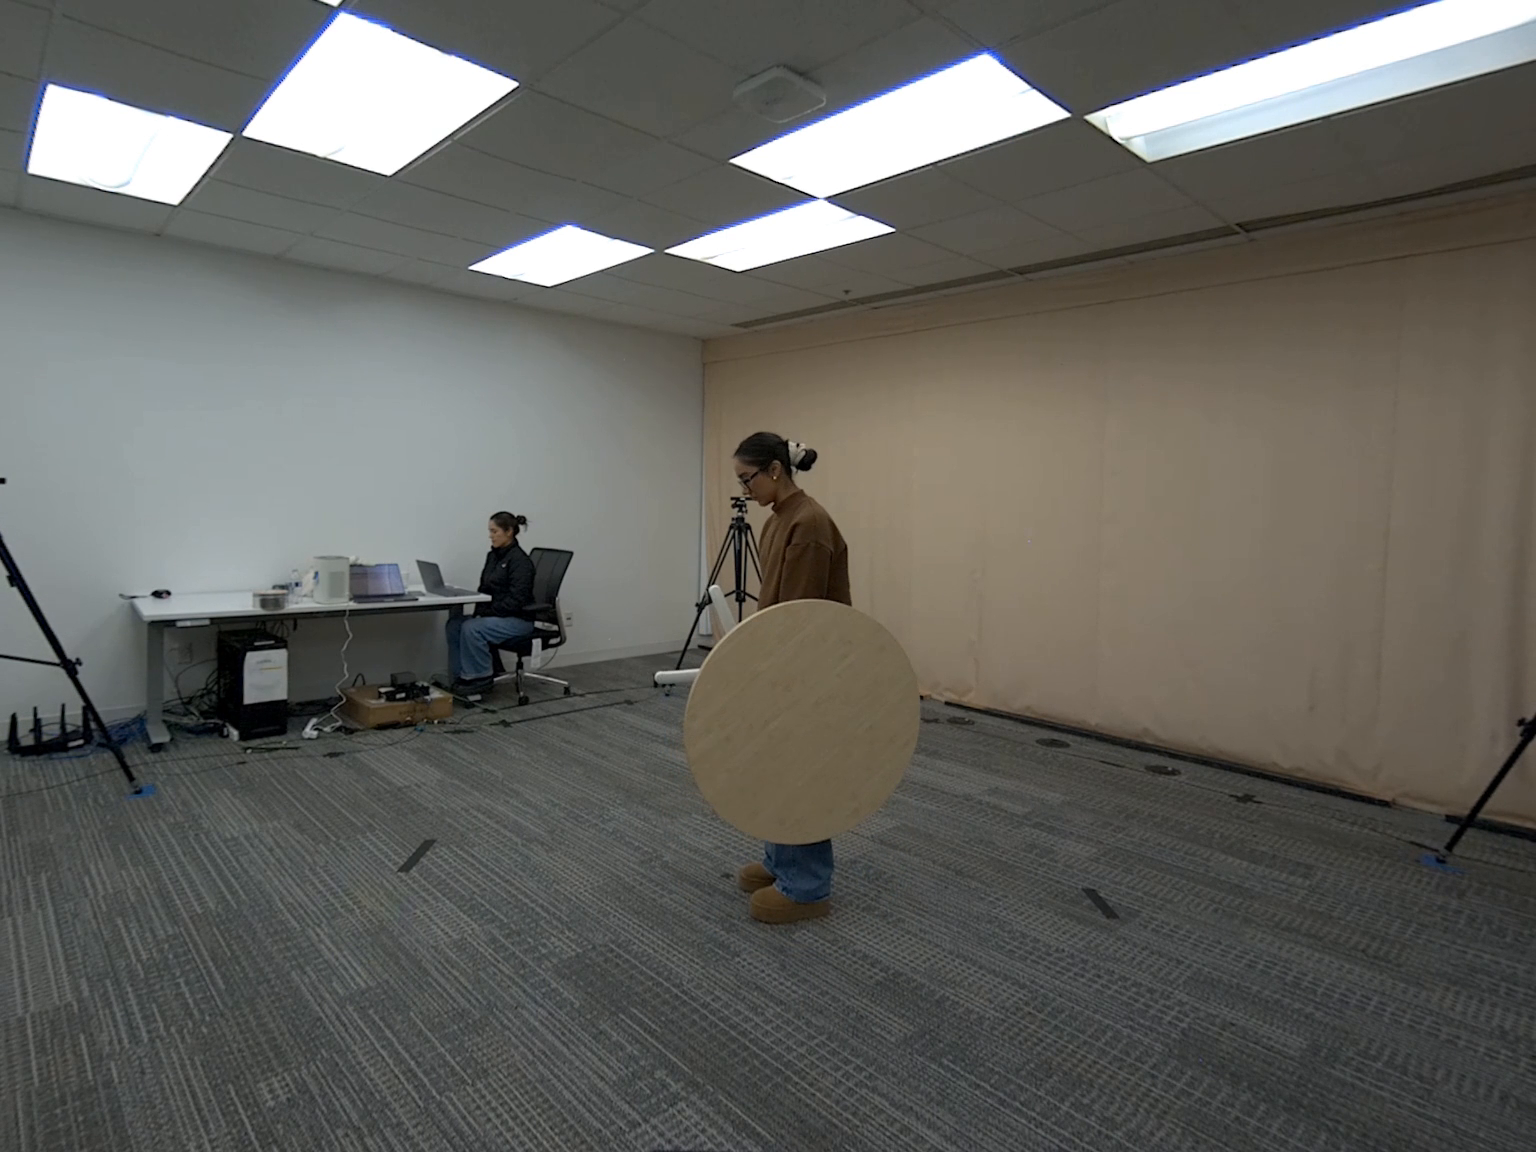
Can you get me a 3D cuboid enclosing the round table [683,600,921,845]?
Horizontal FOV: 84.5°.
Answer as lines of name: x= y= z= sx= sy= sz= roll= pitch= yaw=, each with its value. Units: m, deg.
round table: x=-0.002 y=0.416 z=2.967 sx=0.754 sy=0.762 sz=0.806 roll=0 pitch=5 yaw=-16
